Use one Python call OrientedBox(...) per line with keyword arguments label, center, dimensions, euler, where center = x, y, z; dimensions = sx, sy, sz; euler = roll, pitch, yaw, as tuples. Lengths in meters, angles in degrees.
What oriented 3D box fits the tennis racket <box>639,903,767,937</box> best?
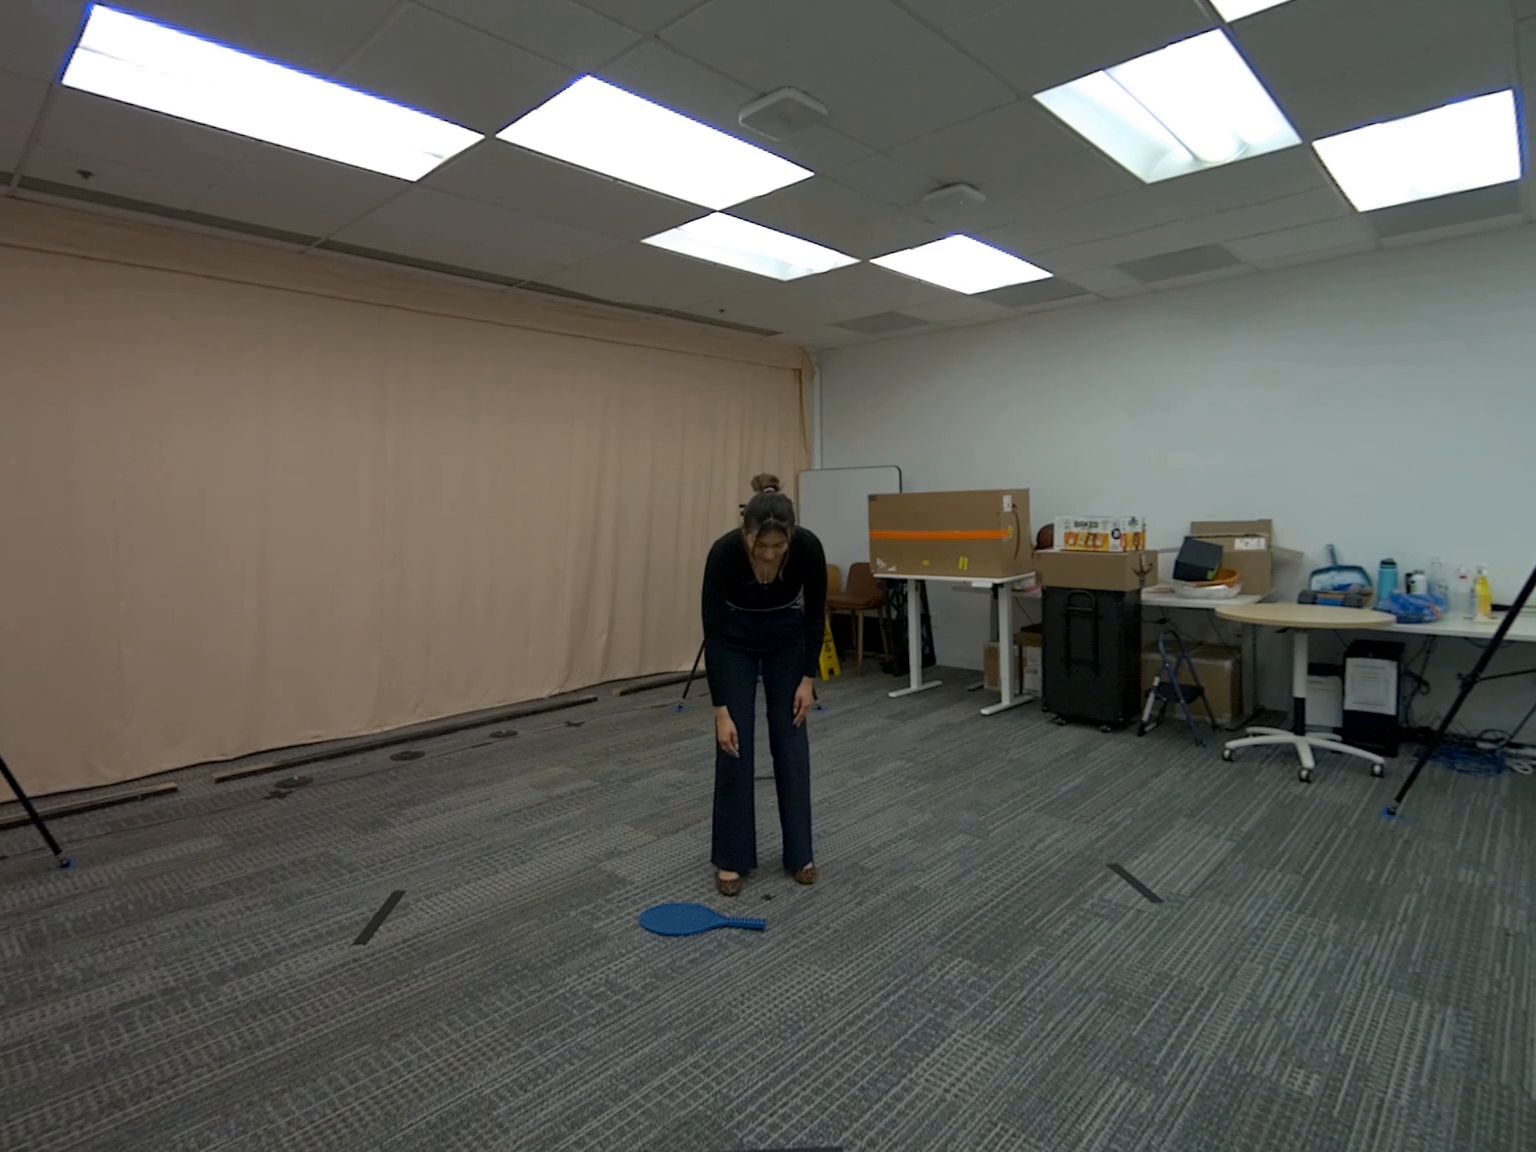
OrientedBox(label="tennis racket", center=(-0.217, 1.143, 2.813), dimensions=(0.438, 0.032, 0.212), euler=(-2, 5, 10))
